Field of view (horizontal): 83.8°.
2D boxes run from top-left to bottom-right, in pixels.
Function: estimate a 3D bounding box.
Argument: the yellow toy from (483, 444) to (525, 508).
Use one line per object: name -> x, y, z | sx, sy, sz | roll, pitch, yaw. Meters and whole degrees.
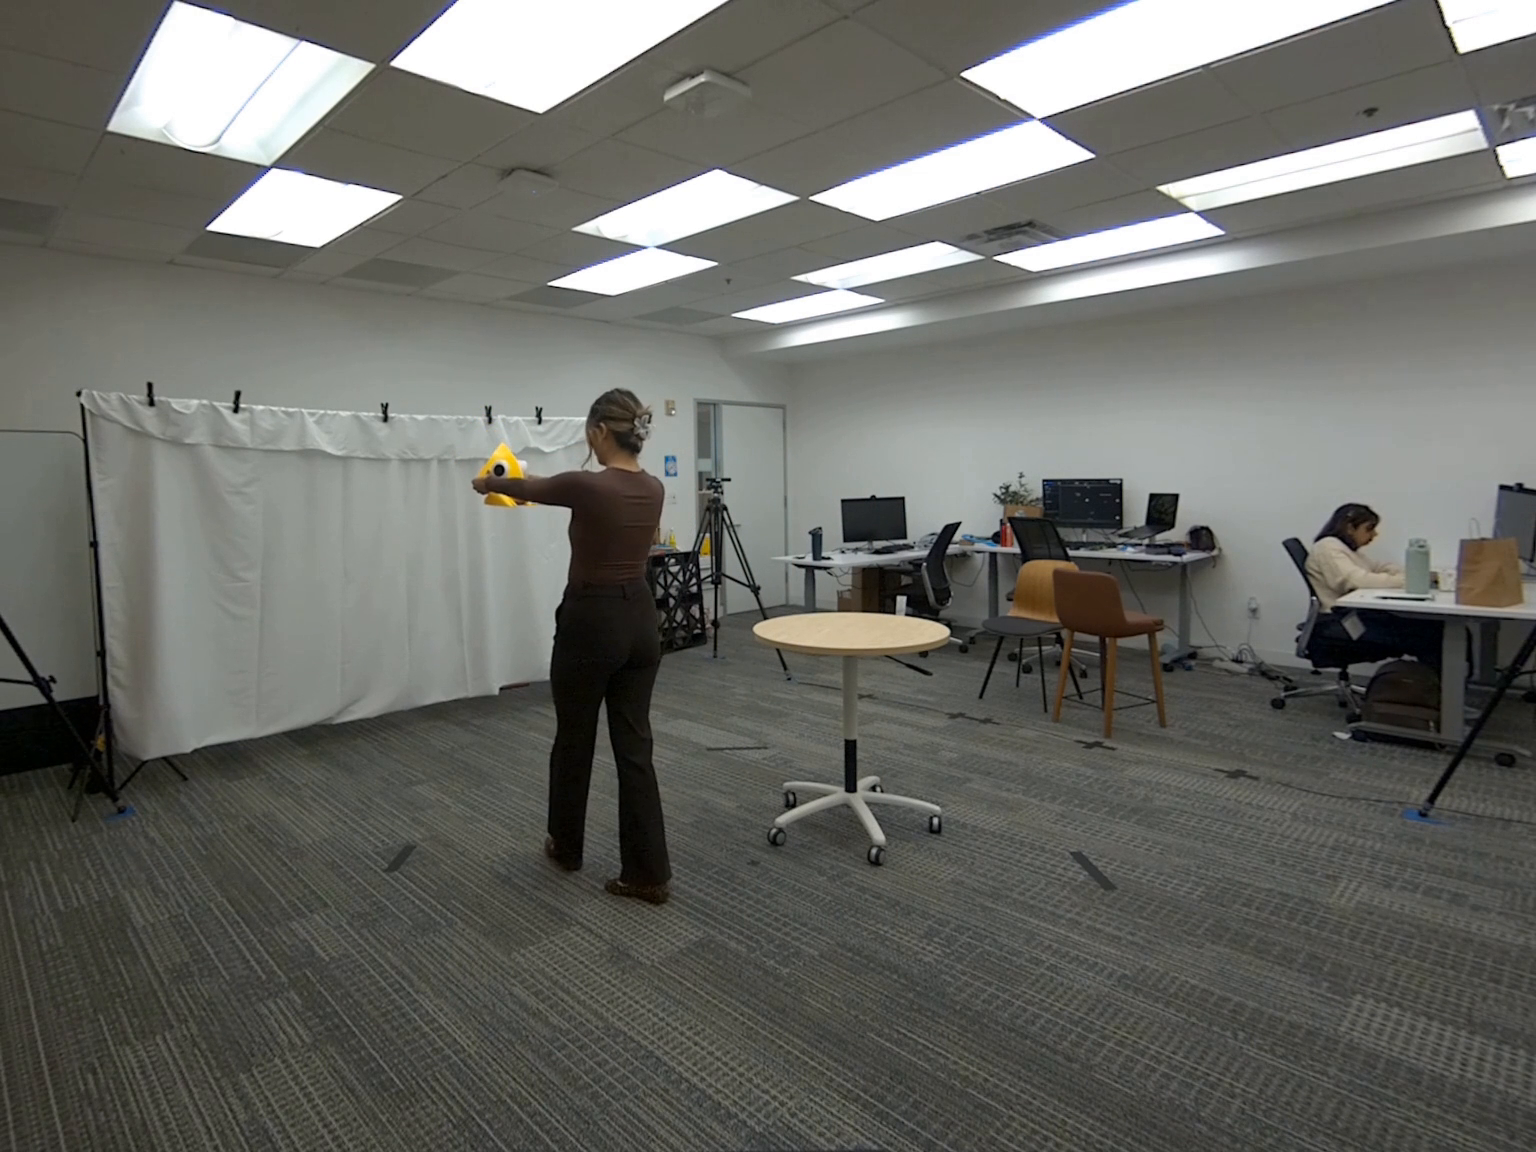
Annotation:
yellow toy -> -0.974, -0.393, 3.249 | 0.199, 0.229, 0.200 | 8, 9, 36
